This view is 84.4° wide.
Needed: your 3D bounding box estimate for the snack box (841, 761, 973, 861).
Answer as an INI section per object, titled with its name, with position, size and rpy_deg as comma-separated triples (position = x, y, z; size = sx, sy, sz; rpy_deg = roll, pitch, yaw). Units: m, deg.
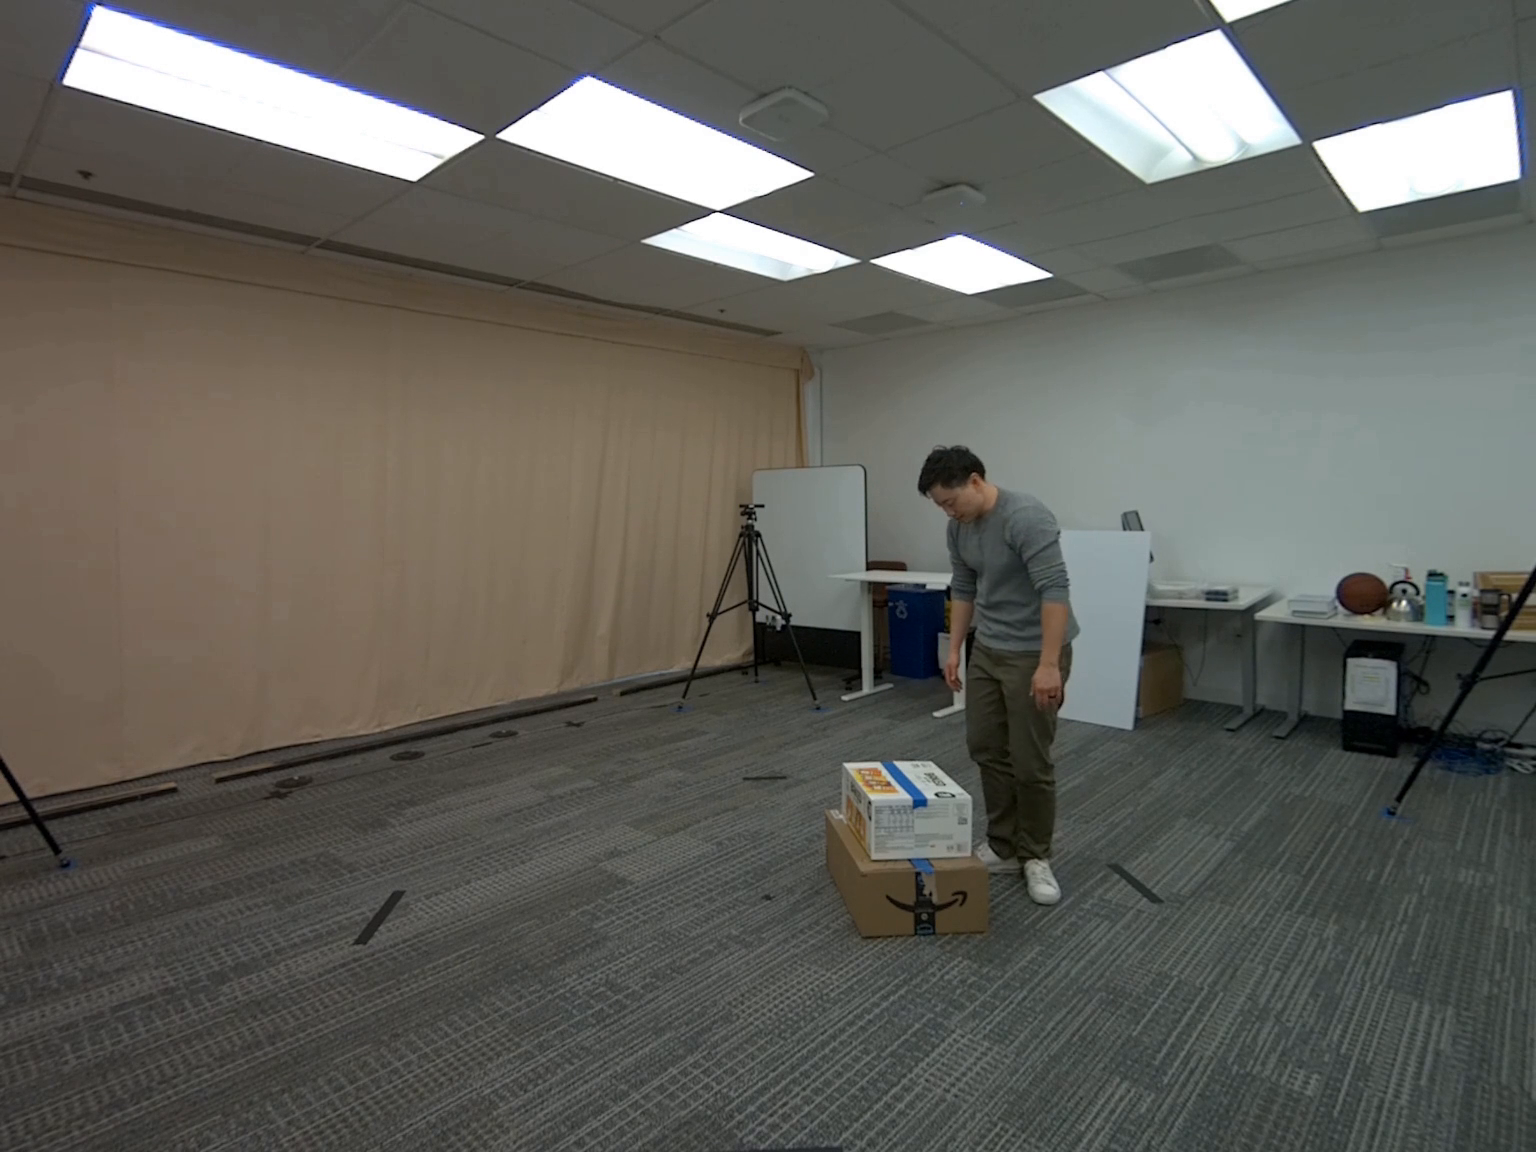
[snack box]
position = 0.481, 0.817, 2.963
size = 0.338, 0.205, 0.409
rpy_deg = -1, 4, -8
